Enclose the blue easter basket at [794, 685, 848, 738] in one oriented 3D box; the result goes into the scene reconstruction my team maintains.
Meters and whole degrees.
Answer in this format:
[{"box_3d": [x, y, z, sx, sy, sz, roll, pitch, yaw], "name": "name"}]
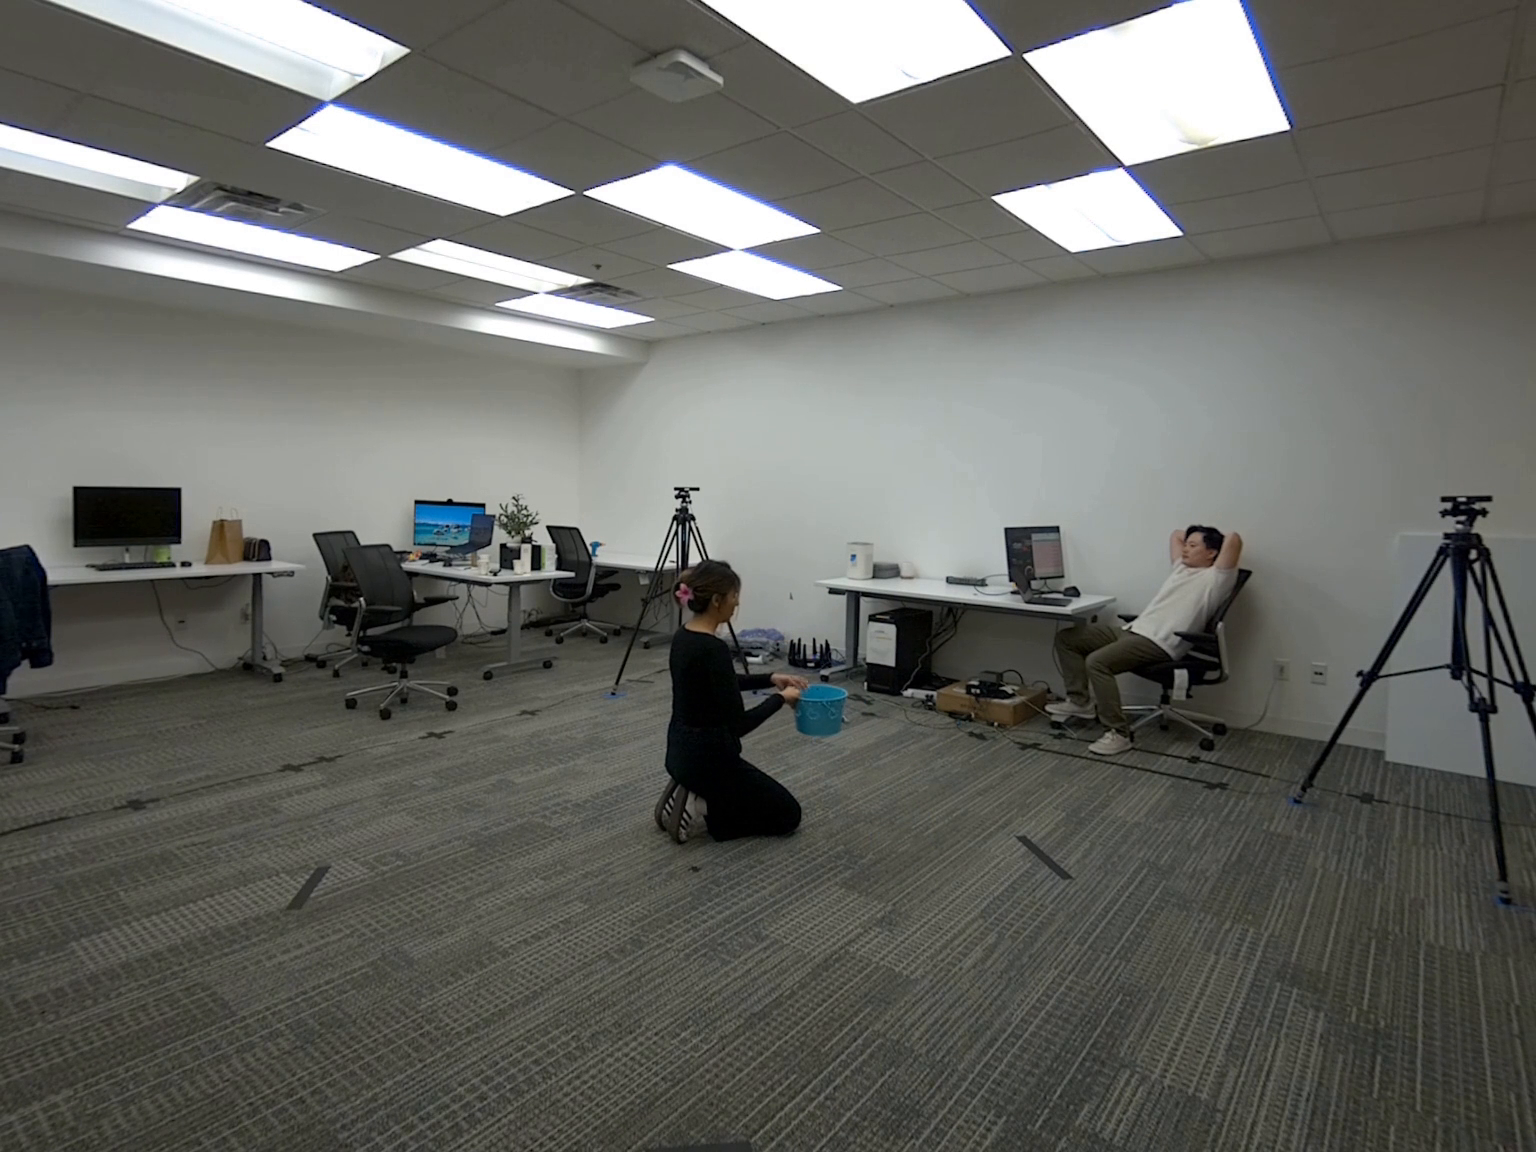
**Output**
[{"box_3d": [0.199, 0.544, 3.443, 0.243, 0.155, 0.245, 0, 7, -2], "name": "blue easter basket"}]
